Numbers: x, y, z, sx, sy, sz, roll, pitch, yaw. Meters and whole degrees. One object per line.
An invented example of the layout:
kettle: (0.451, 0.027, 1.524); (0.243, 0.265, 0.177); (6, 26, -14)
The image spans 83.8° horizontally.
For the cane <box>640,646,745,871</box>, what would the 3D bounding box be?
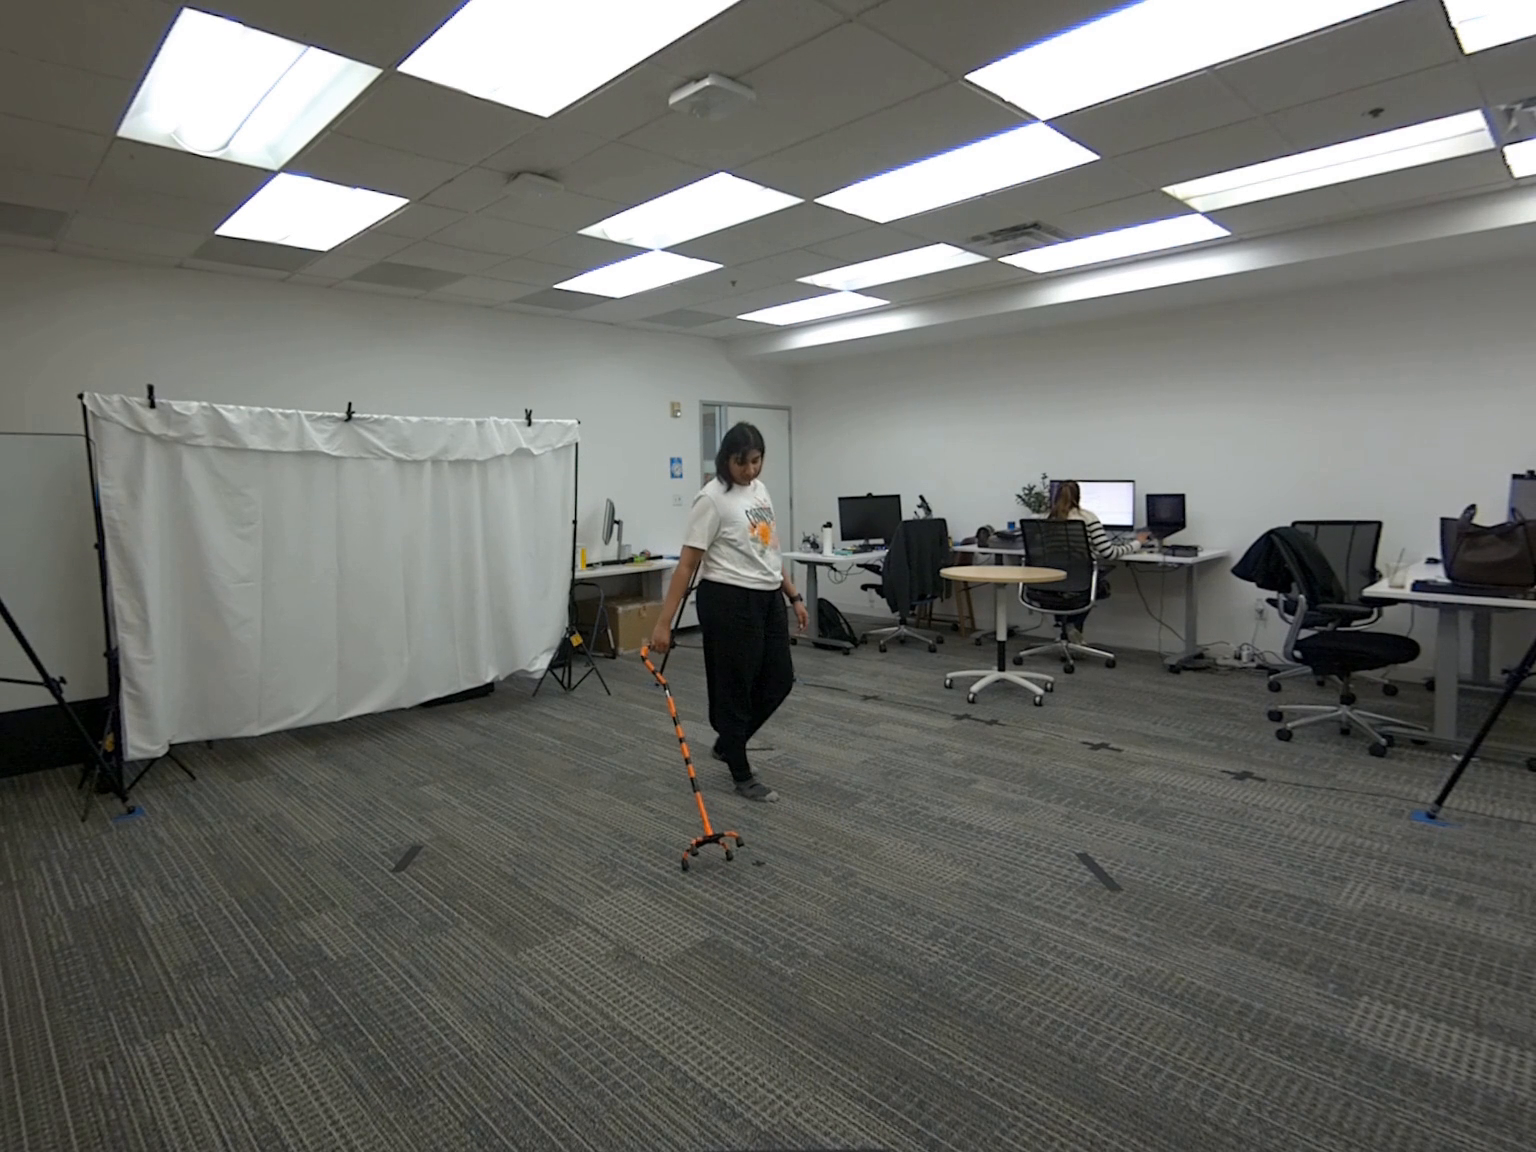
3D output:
cane: (-0.340, 0.648, 3.321); (0.202, 0.939, 0.150); (-3, -39, -26)
